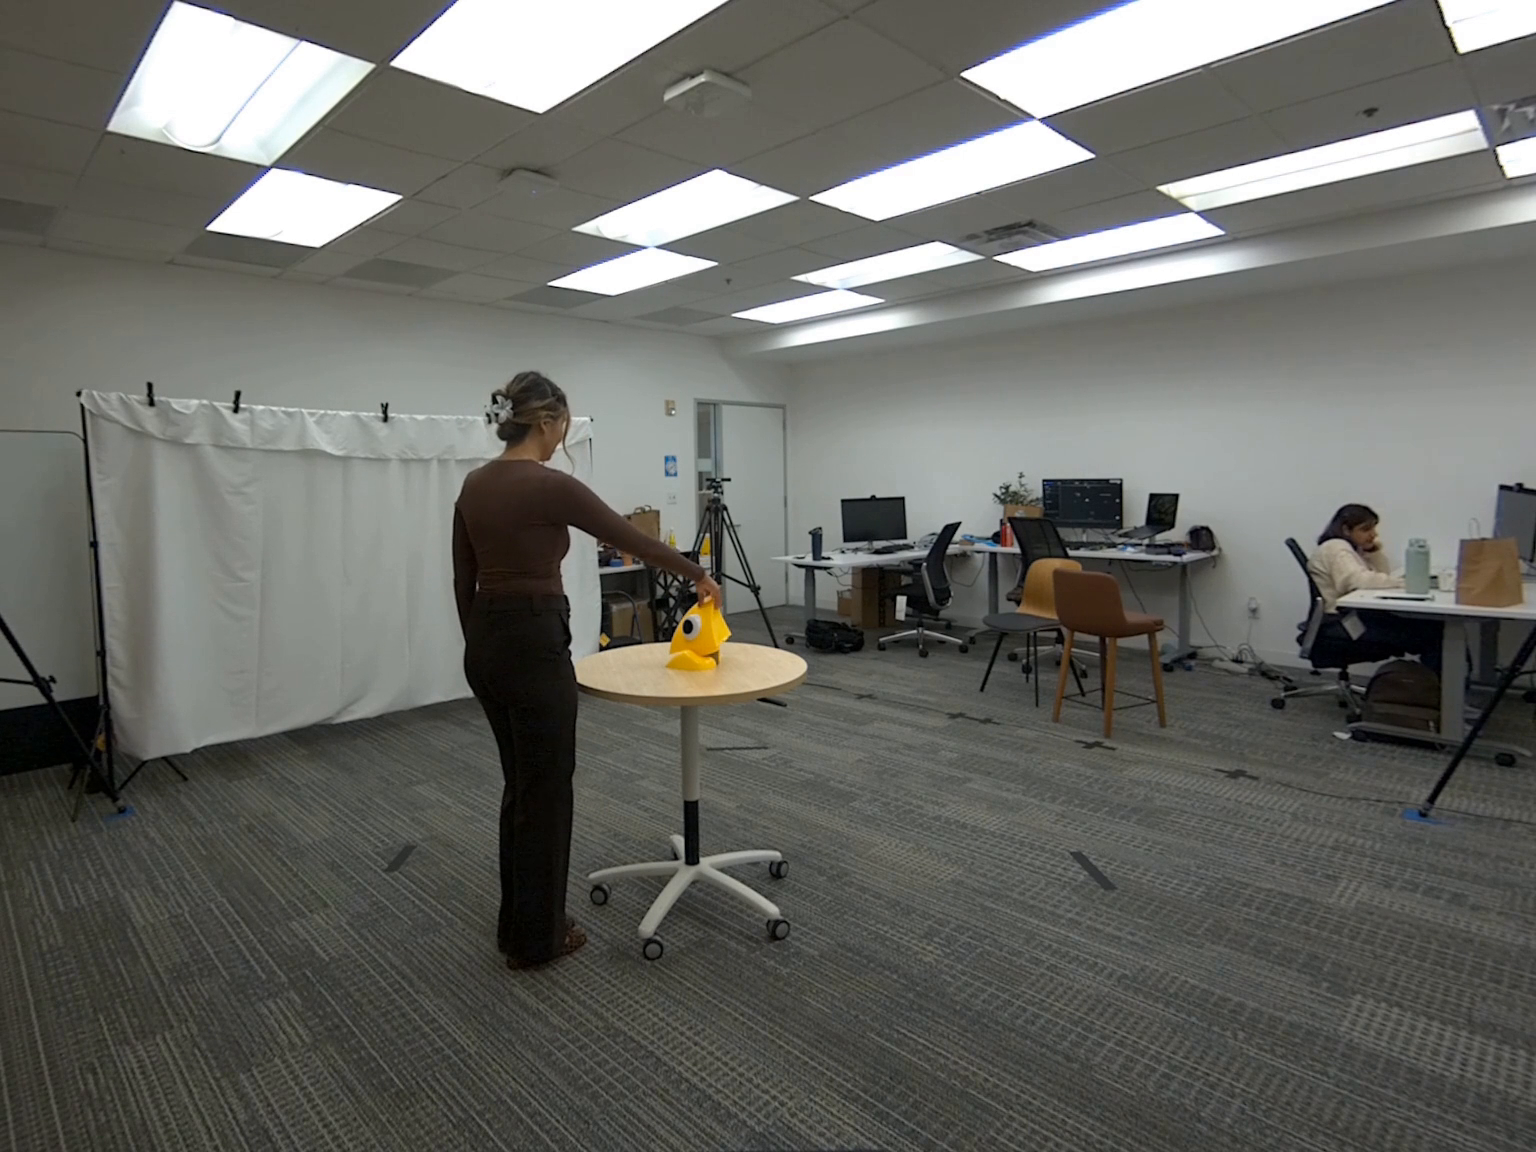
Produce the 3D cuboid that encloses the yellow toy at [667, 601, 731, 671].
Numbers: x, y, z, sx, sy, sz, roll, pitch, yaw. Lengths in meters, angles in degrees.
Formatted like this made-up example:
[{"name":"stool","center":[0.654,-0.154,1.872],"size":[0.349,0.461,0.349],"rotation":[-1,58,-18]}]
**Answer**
[{"name":"yellow toy","center":[-0.229,0.171,2.777],"size":[0.195,0.230,0.203],"rotation":[1,6,12]}]
